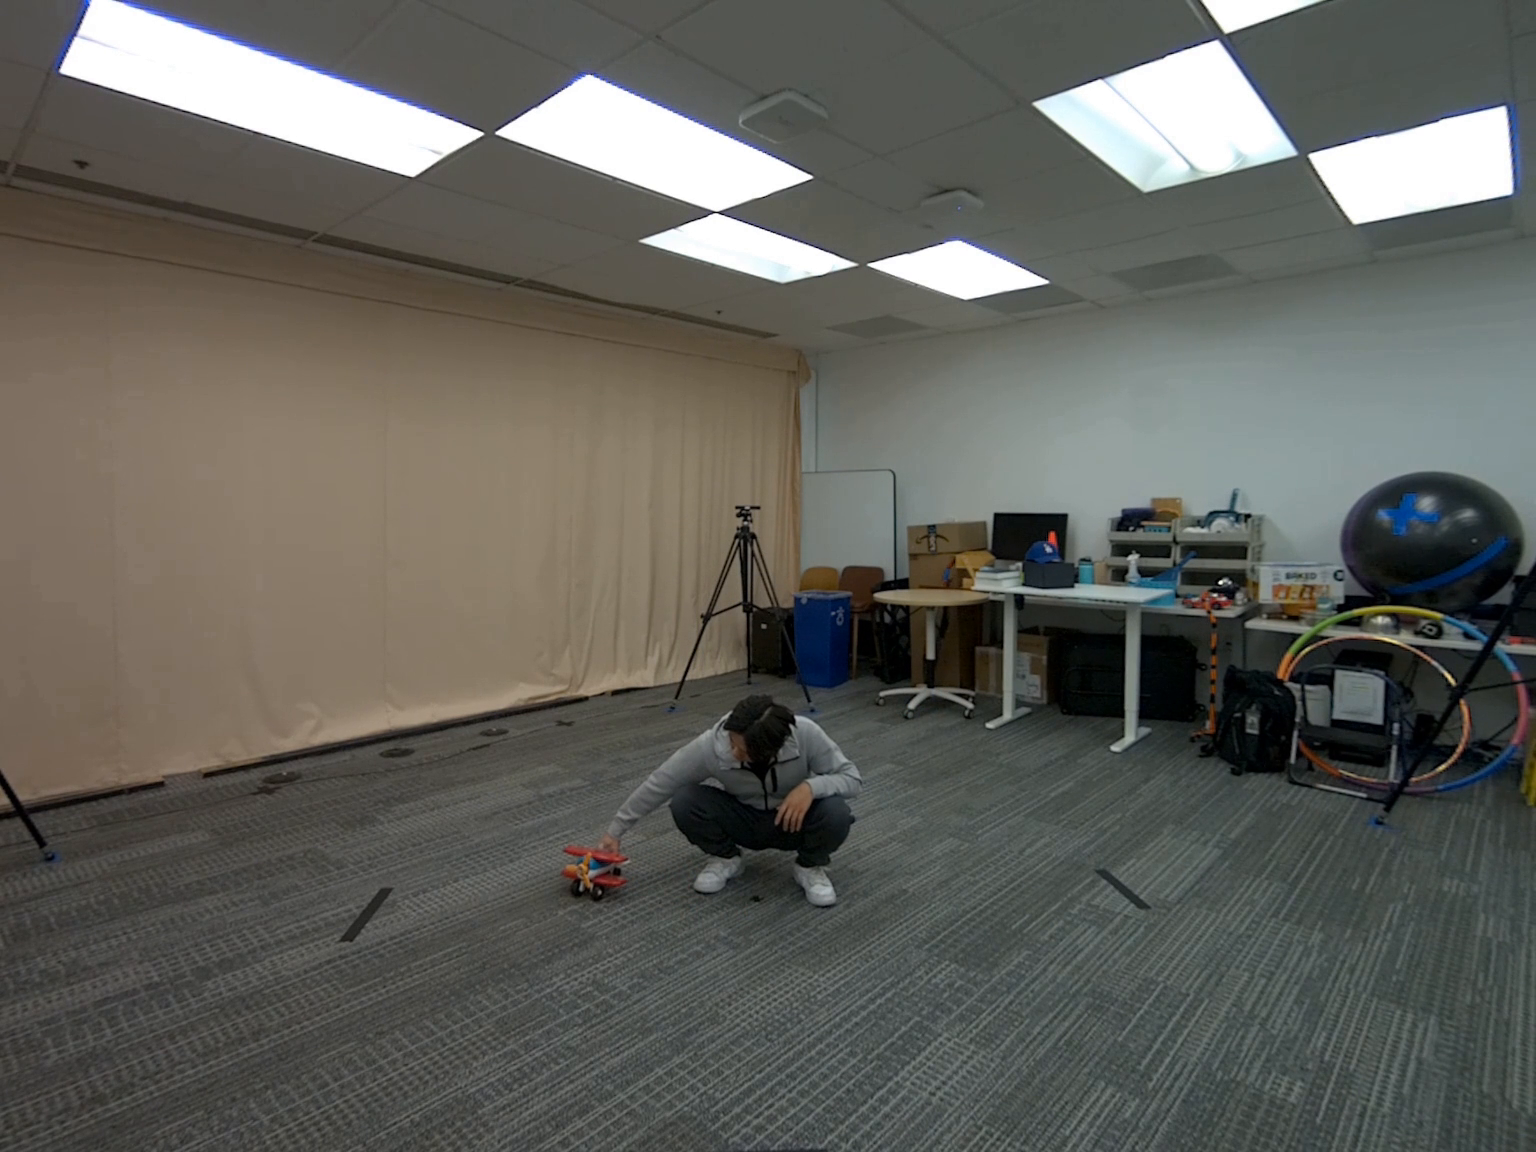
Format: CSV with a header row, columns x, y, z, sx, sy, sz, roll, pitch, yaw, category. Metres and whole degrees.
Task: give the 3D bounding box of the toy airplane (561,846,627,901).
x,y,z,sx,sy,sz,roll,pitch,yaw,category
-0.634,1.067,3.086,0.250,0.156,0.261,-1,5,-5,toy airplane
